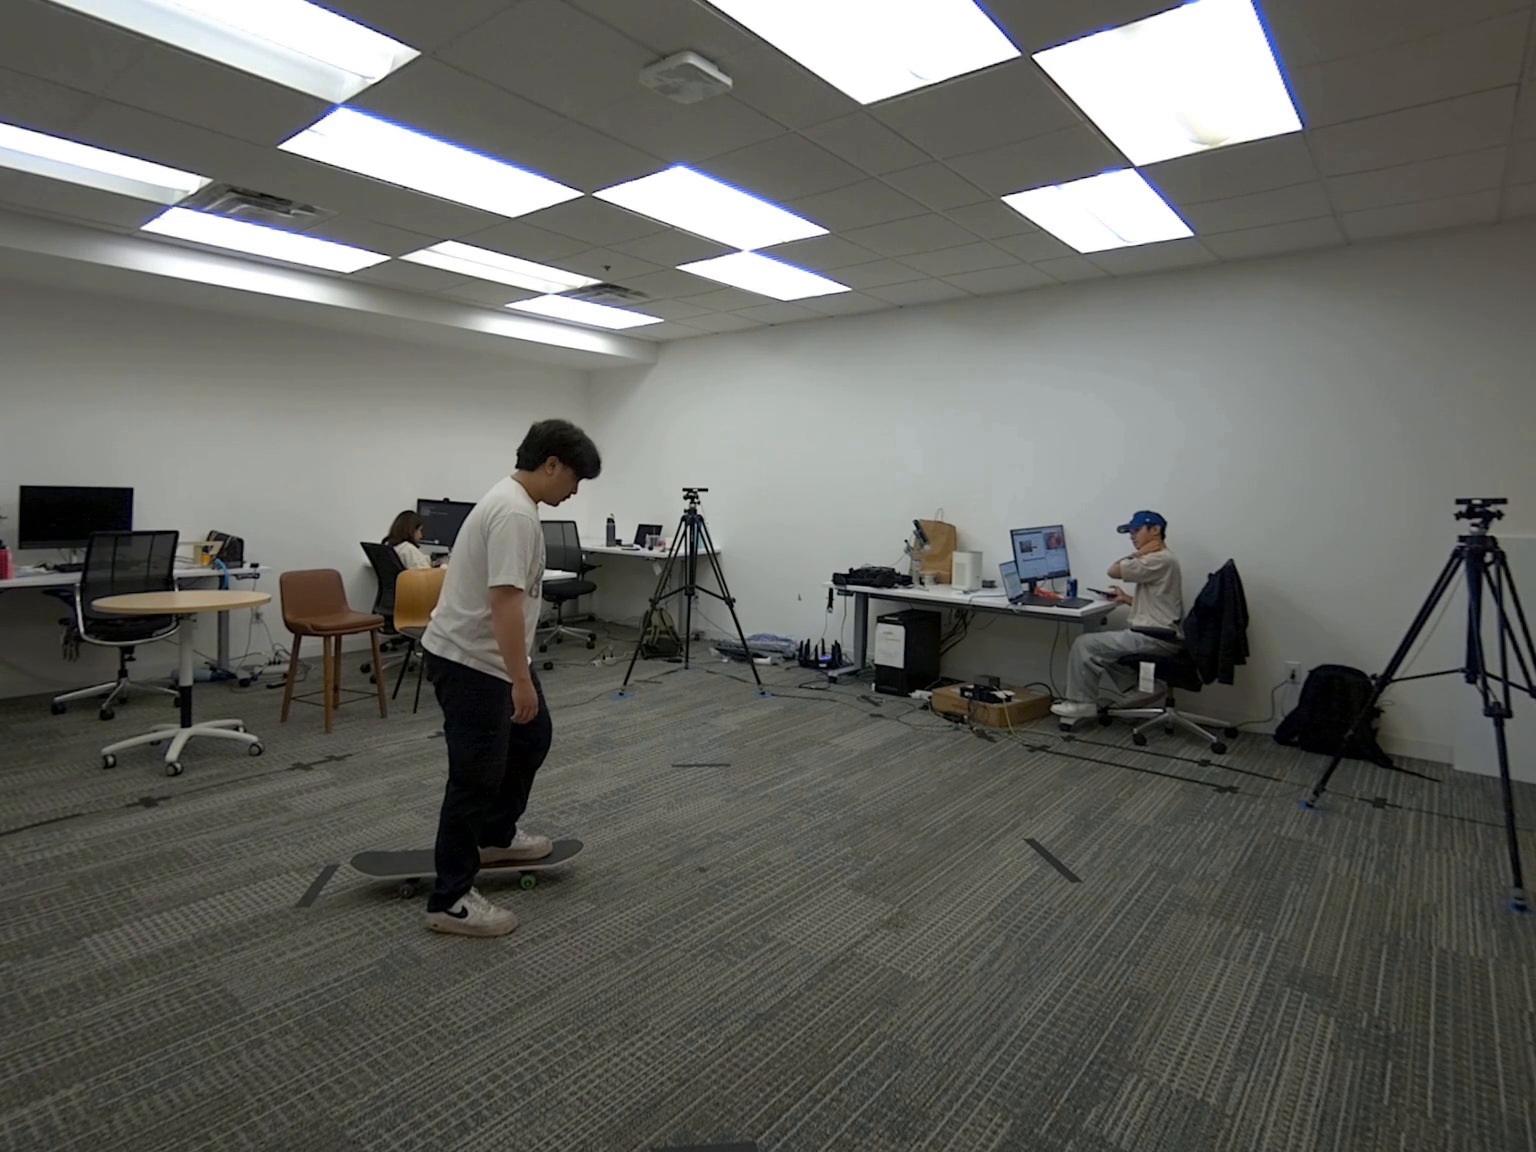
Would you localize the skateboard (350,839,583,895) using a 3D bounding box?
[{"bbox_3d":[-1.045,1.012,2.966,0.776,0.110,0.197,0,6,-11],"label":"skateboard"}]
